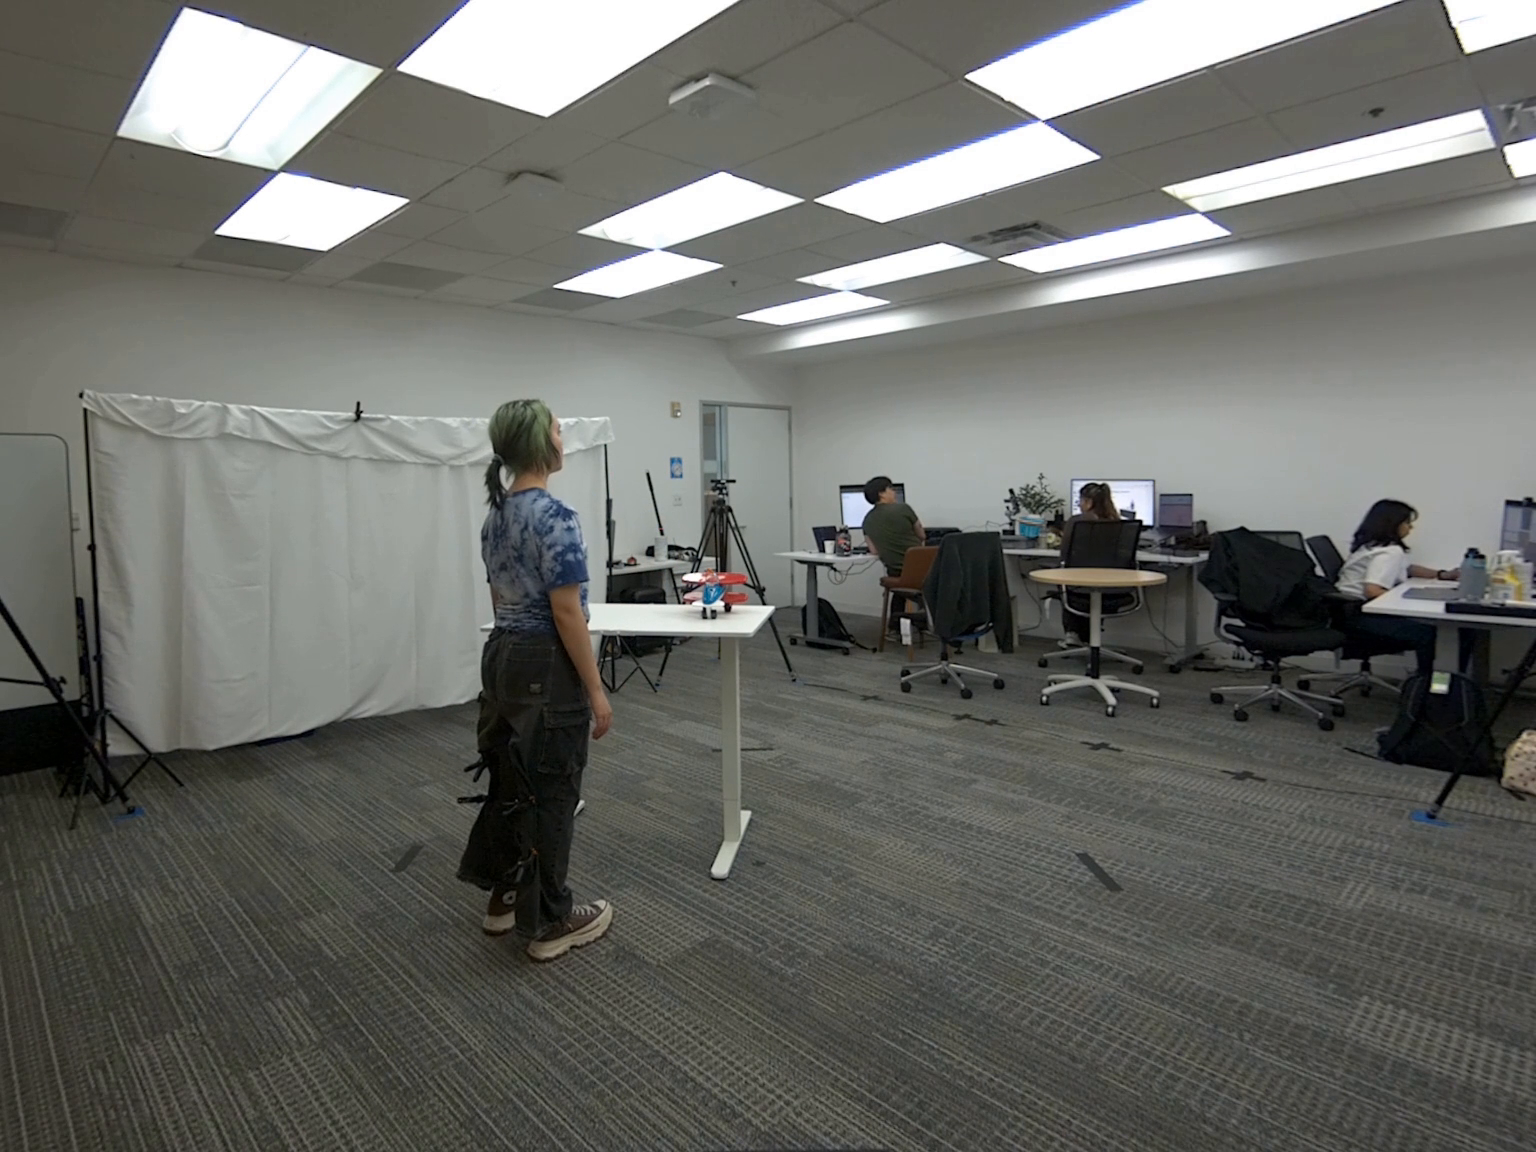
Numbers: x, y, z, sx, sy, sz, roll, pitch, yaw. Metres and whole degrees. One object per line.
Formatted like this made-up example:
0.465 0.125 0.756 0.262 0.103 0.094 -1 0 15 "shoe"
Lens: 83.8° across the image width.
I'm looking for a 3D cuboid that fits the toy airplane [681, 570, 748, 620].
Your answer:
-0.193 0.073 3.278 0.246 0.156 0.265 -3 5 -22 "toy airplane"
